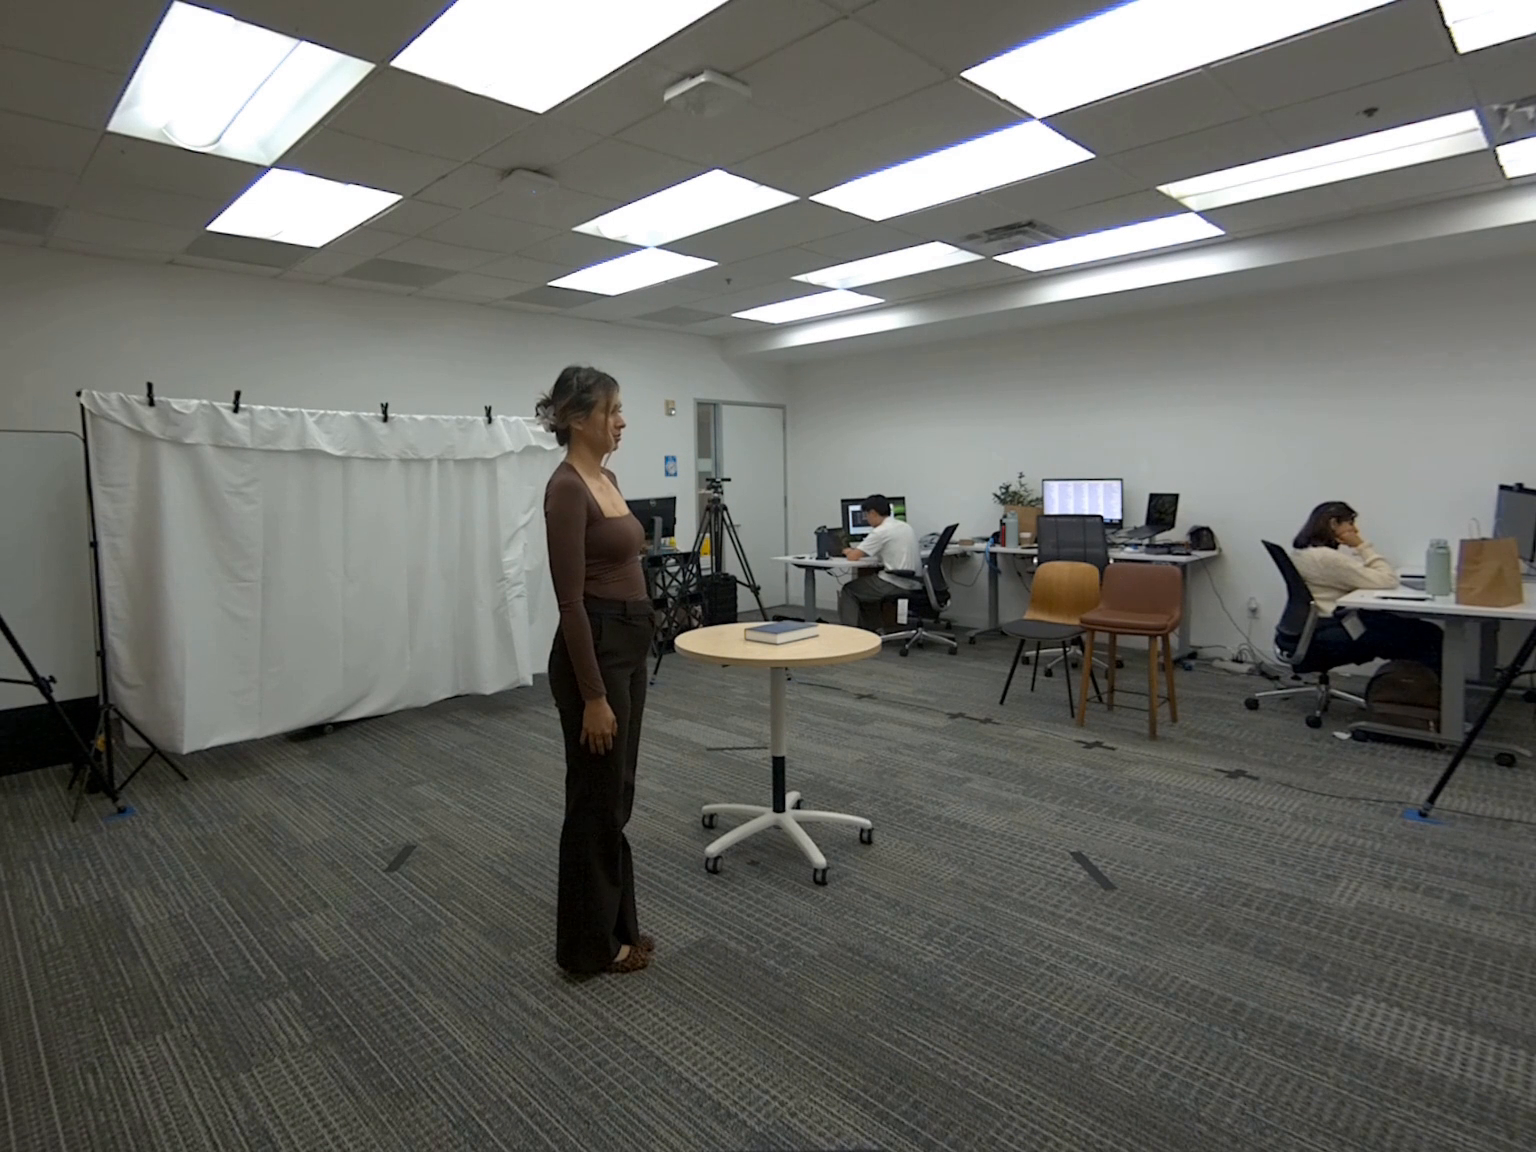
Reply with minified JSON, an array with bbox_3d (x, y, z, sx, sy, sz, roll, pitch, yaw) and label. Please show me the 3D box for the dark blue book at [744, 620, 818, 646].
[{"bbox_3d":[0.059,0.211,3.197,0.168,0.045,0.239,5,8,41],"label":"dark blue book"}]
